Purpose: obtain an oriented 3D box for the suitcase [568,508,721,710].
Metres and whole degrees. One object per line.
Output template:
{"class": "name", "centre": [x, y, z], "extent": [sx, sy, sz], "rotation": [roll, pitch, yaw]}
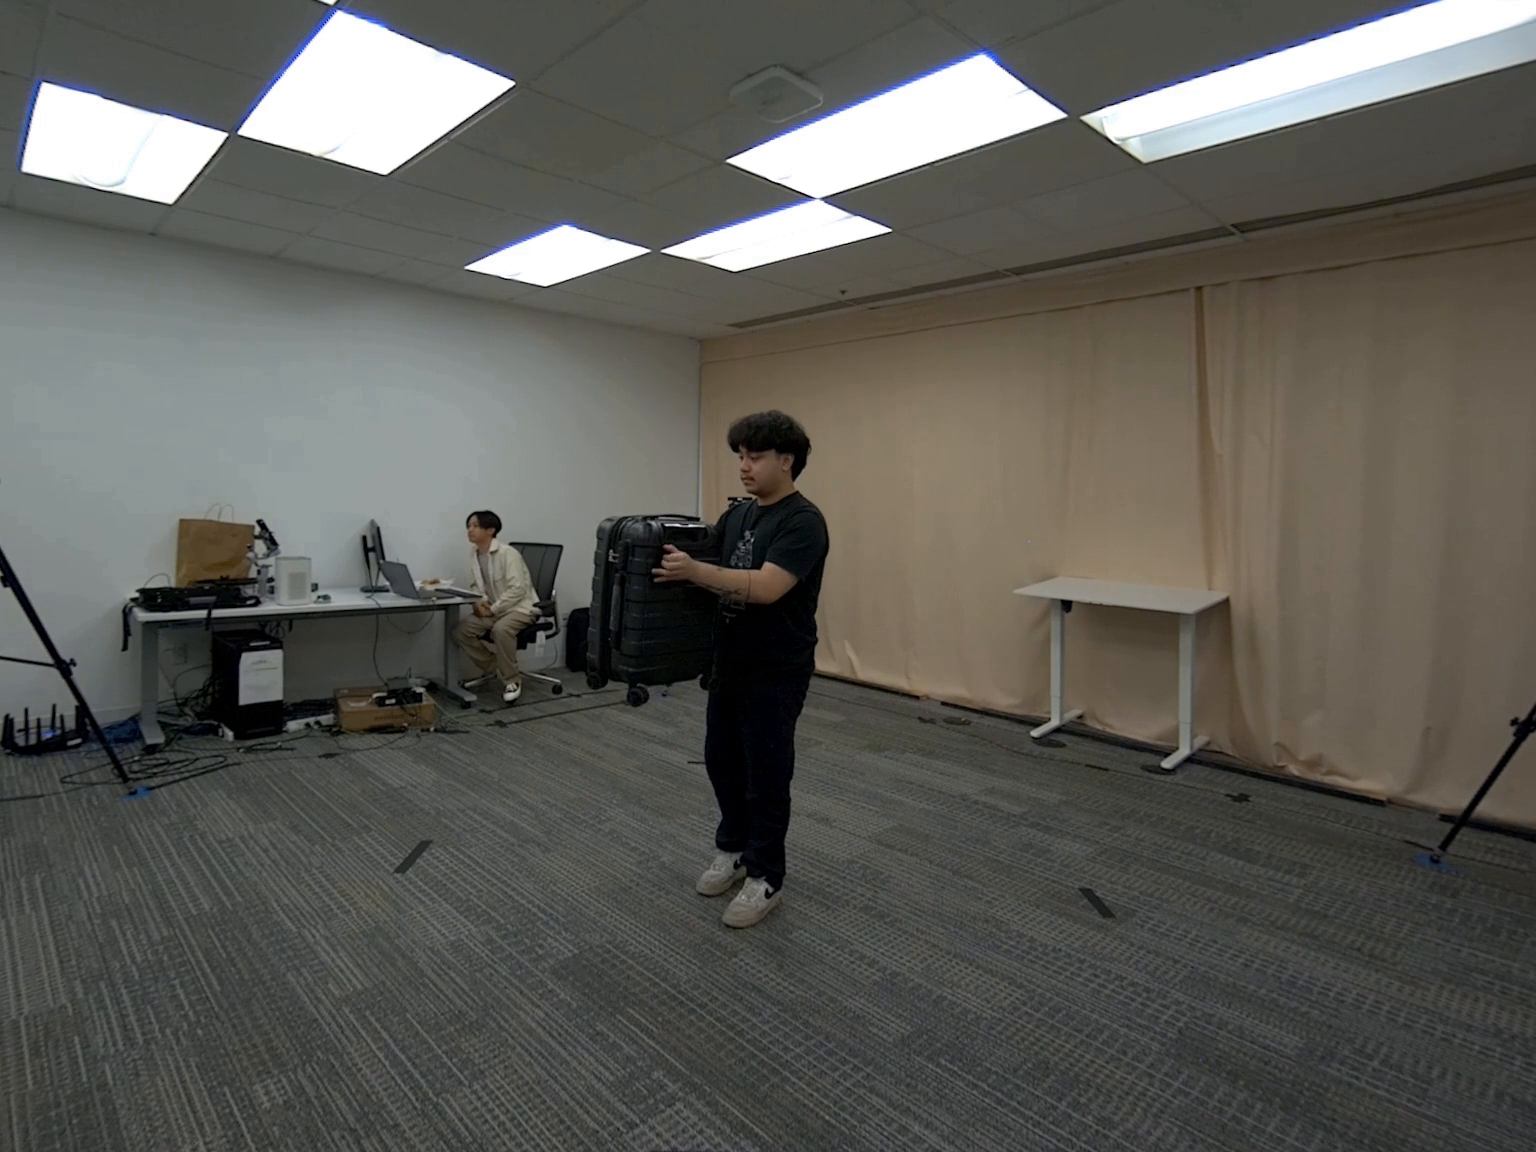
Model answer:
{"class": "suitcase", "centre": [-0.365, 0.081, 2.588], "extent": [0.255, 0.547, 0.366], "rotation": [9, 7, 43]}
